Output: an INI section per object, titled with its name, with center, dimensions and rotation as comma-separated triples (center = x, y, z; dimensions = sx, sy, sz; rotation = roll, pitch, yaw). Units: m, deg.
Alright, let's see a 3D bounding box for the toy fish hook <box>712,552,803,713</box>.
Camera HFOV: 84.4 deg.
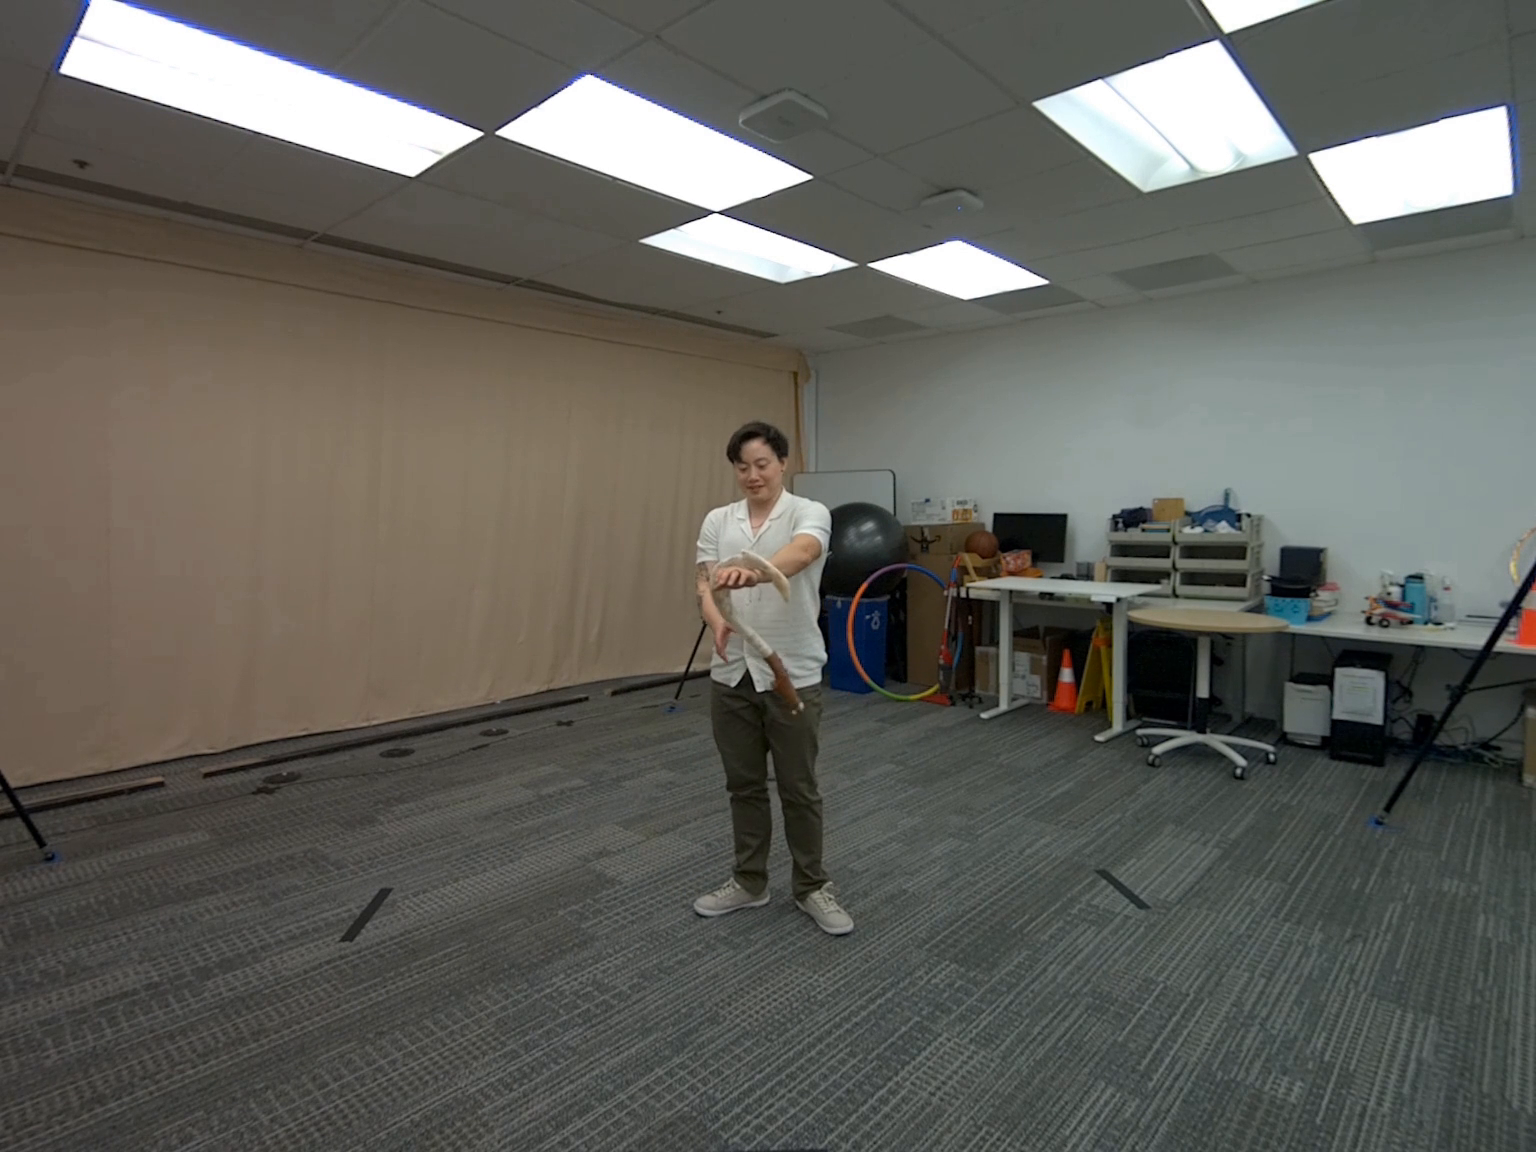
[toy fish hook]
center = 0.017, 0.163, 2.429
dimensions = 0.228, 0.504, 0.048
rotation = -25, 5, 22
